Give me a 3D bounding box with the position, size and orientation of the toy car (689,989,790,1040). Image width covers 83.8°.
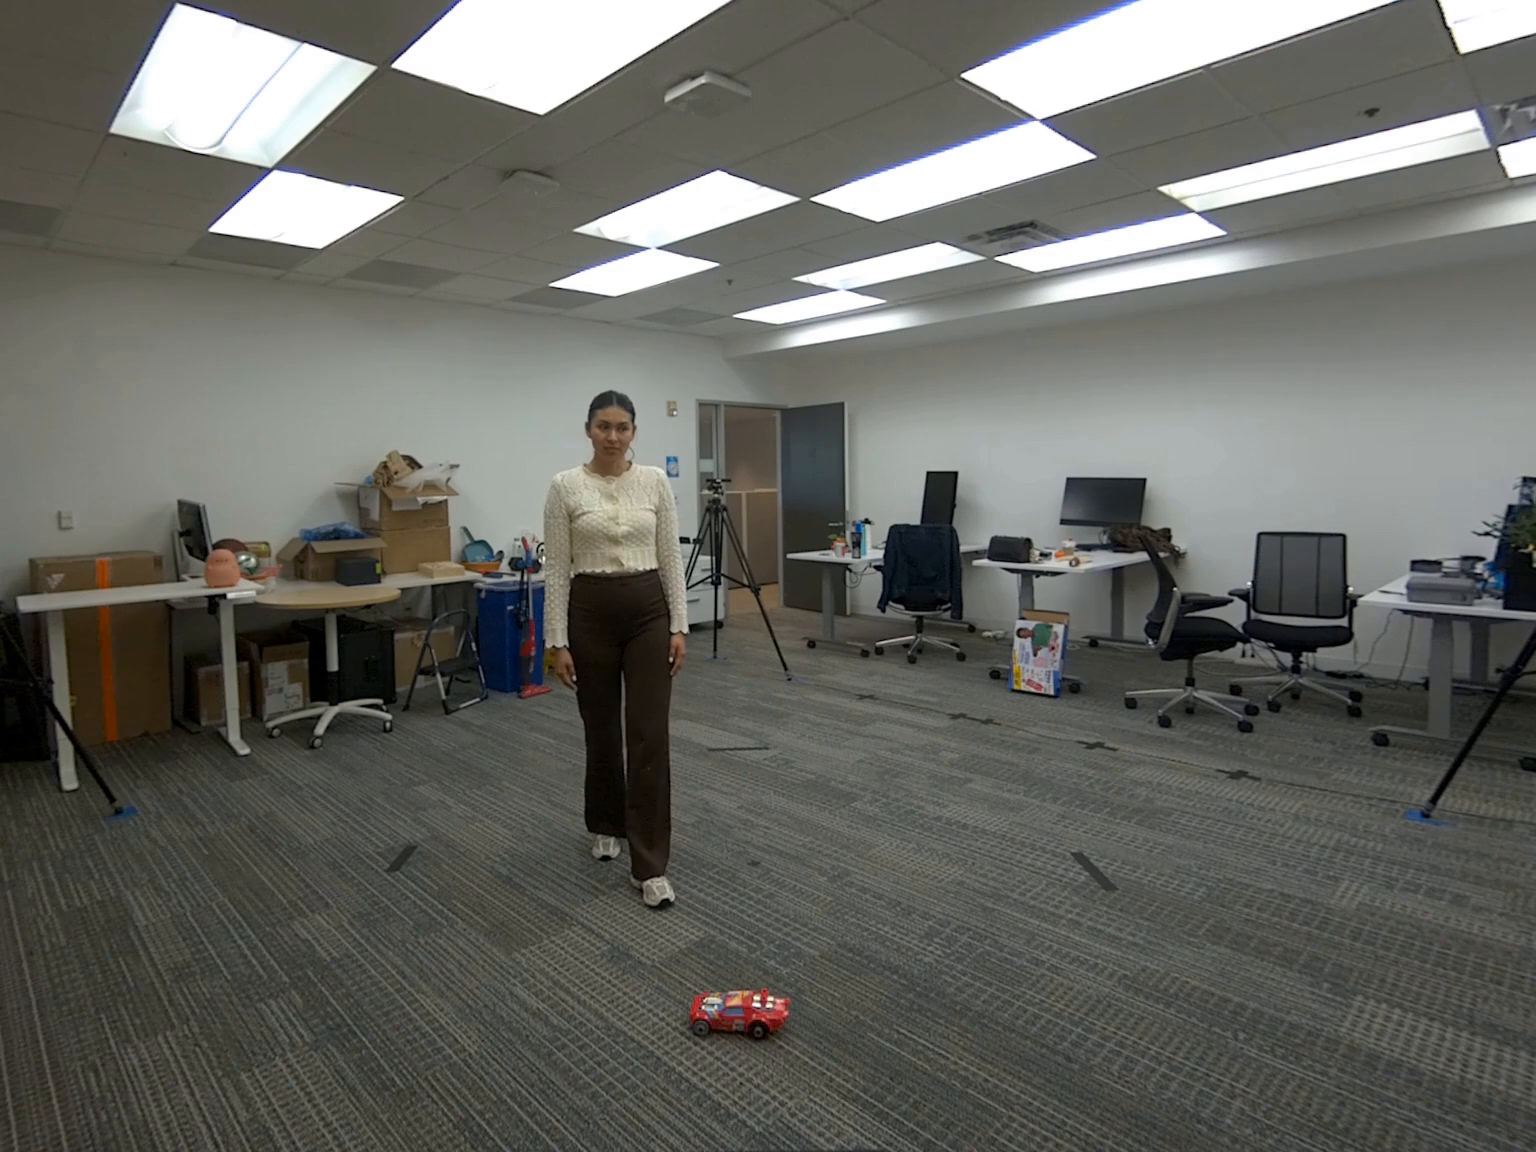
[{"bbox_3d":[-0.057,1.124,2.184,0.256,0.083,0.130,-12,3,9],"label":"toy car"}]
